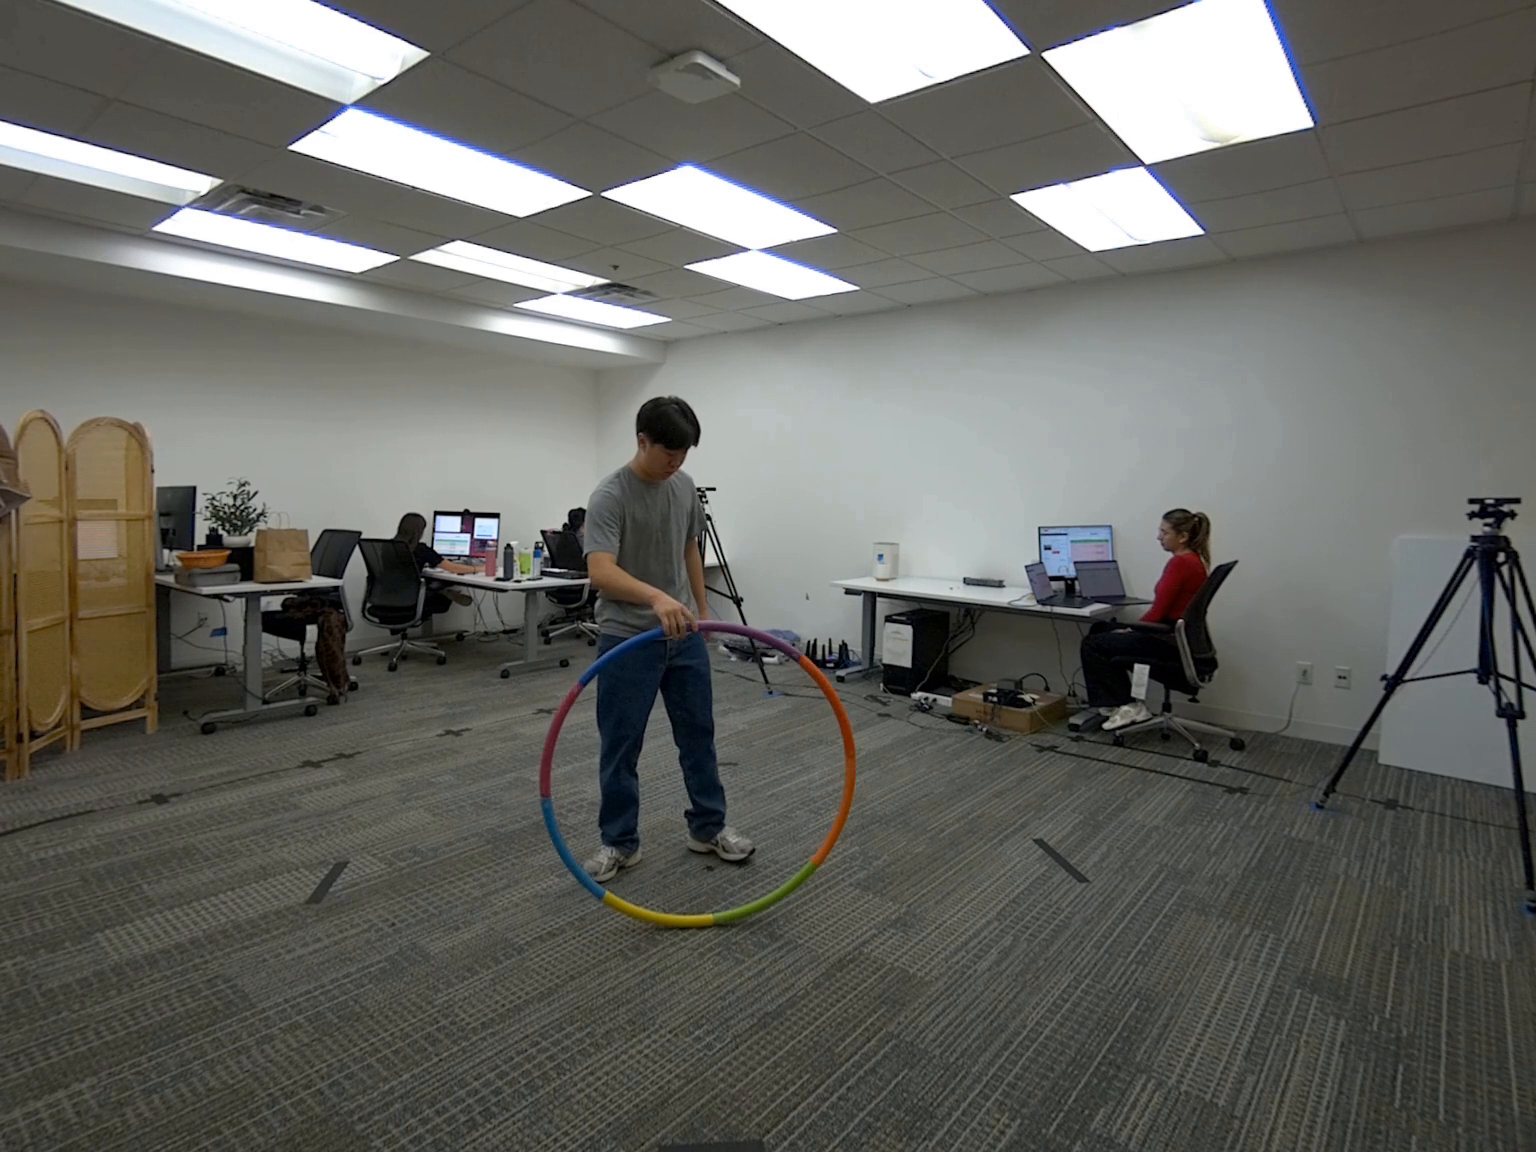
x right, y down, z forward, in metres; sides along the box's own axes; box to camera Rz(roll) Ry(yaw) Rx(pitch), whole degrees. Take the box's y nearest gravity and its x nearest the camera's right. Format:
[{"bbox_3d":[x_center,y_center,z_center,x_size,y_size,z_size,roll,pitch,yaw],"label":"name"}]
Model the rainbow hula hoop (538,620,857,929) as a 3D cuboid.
[{"bbox_3d":[-0.219,0.618,2.652,0.969,0.975,0.036,0,4,-9],"label":"rainbow hula hoop"}]
